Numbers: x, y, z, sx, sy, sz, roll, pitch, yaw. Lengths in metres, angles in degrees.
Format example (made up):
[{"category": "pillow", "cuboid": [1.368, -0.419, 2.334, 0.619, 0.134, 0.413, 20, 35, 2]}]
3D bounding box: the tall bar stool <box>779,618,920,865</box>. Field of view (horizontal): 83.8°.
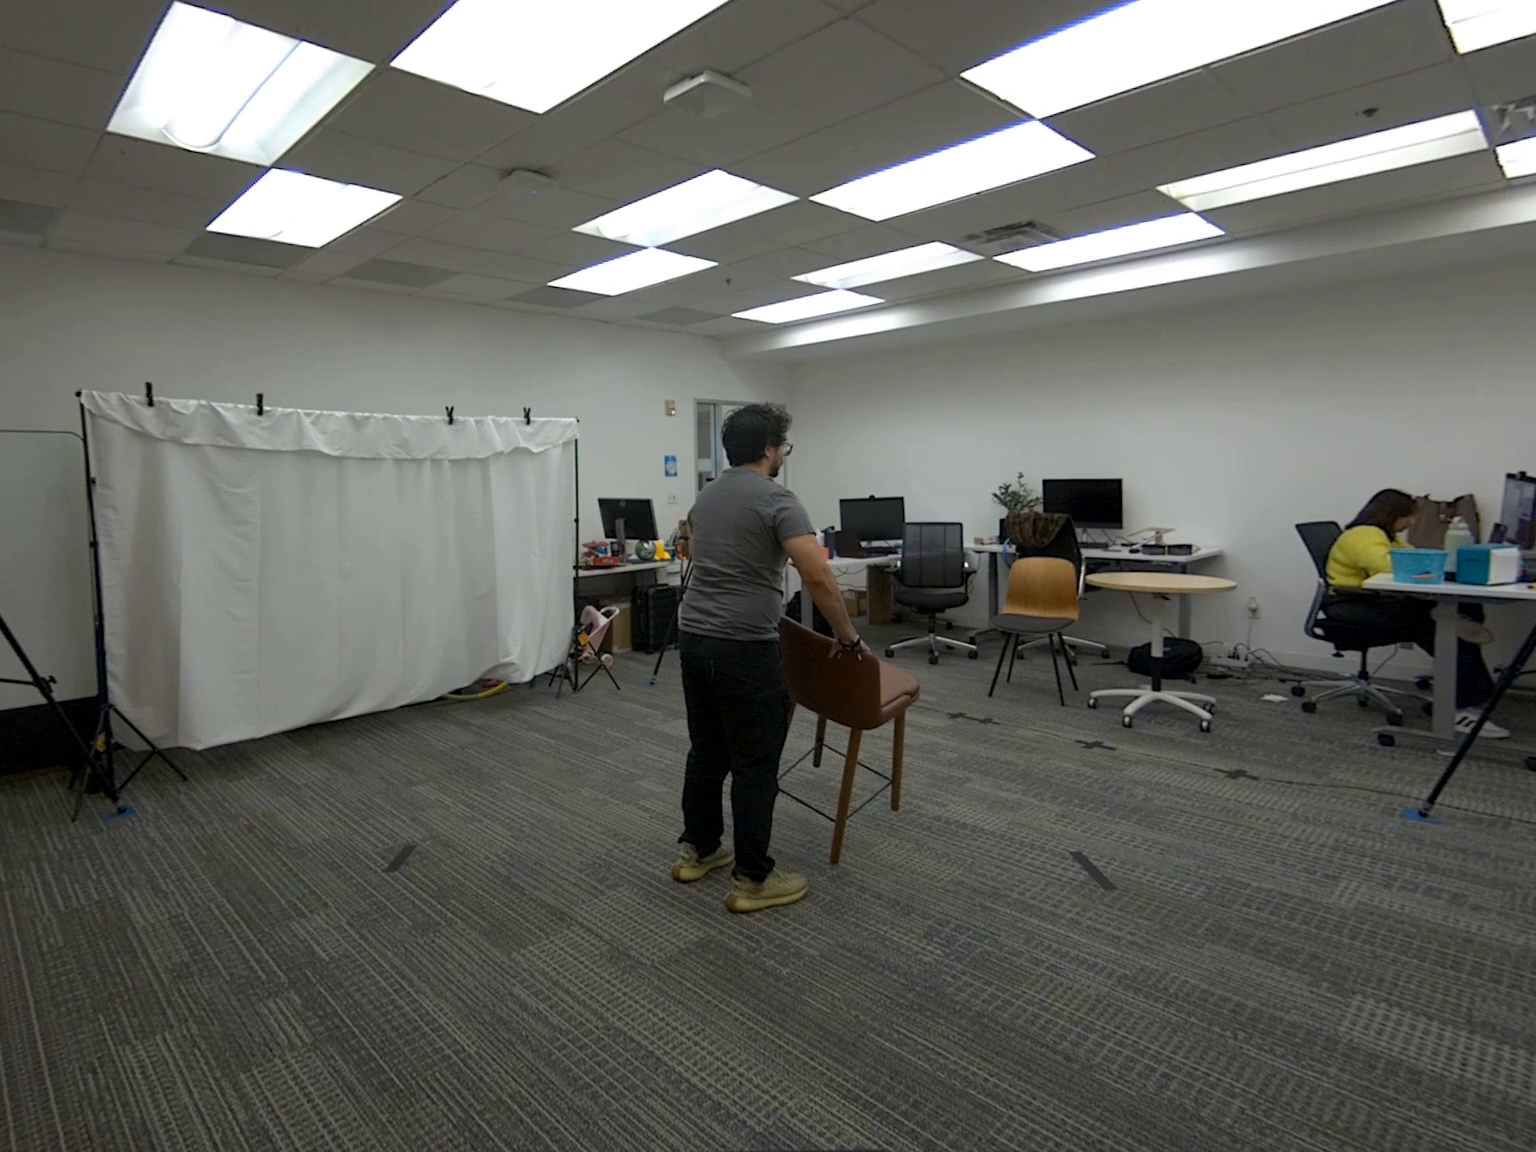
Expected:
[{"category": "tall bar stool", "cuboid": [0.265, 0.530, 3.187, 0.472, 0.874, 0.460, 21, 29, 34]}]
